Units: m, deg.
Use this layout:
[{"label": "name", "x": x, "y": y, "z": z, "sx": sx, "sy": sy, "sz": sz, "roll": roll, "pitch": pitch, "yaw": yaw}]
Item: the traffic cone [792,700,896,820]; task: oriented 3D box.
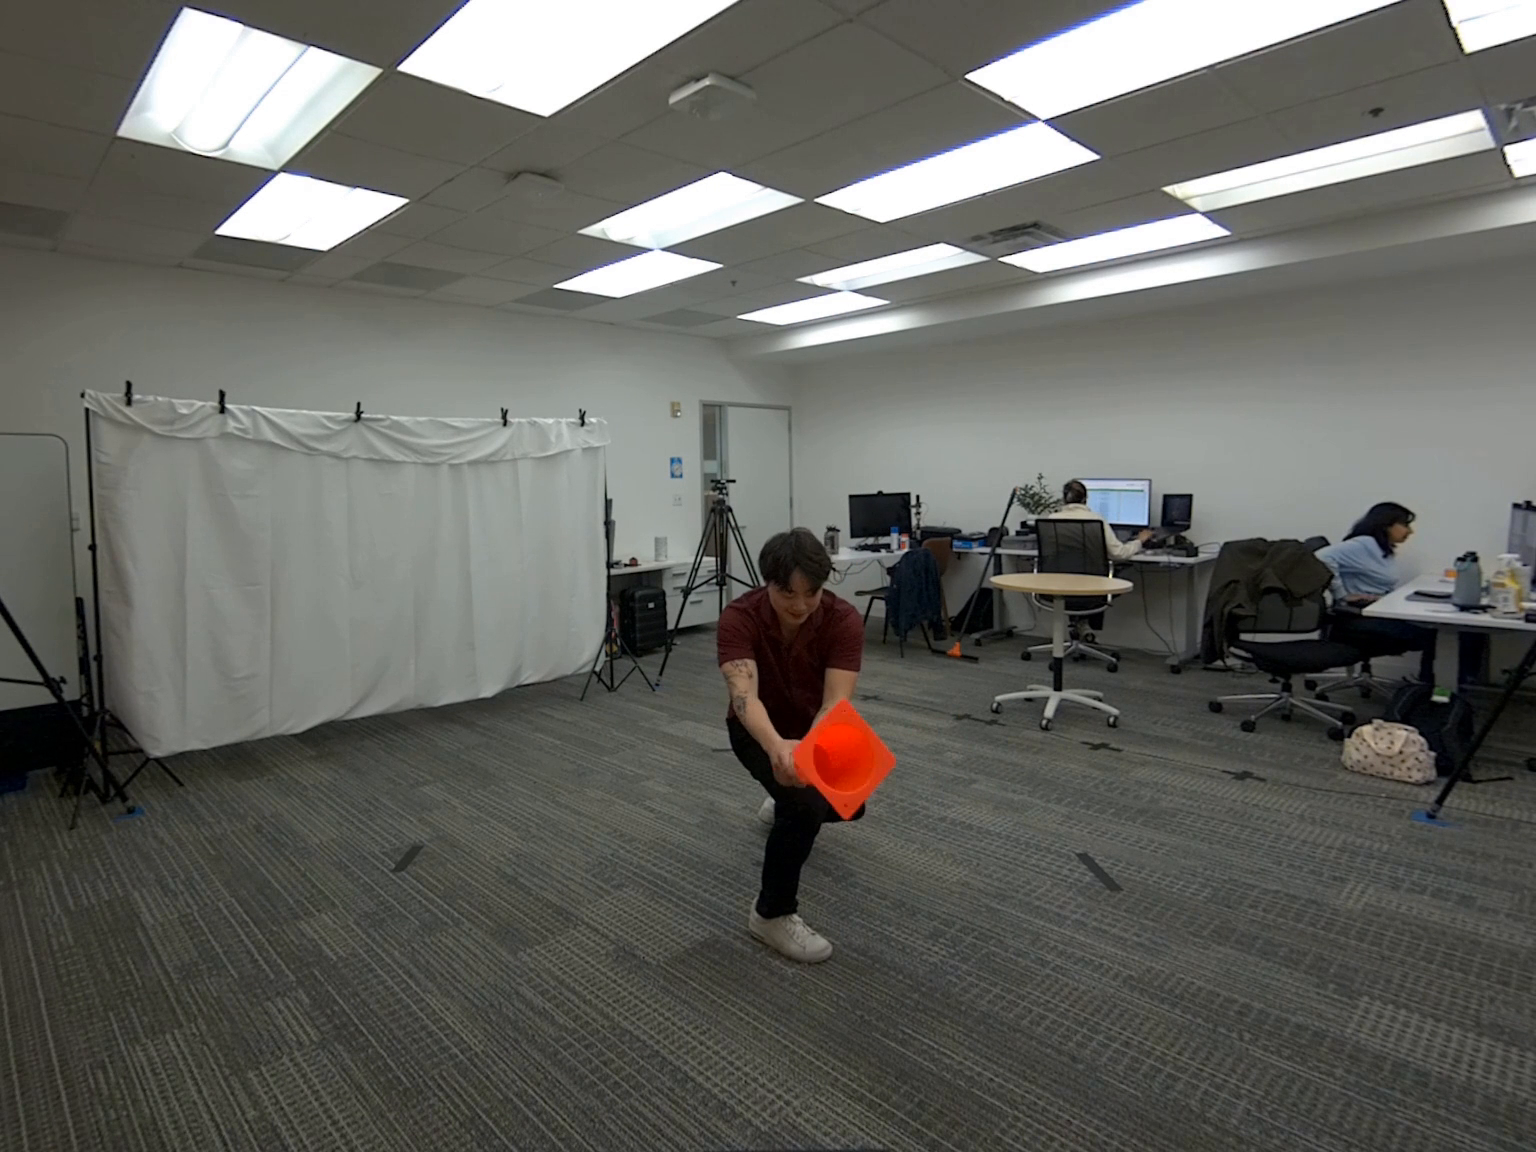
[{"label": "traffic cone", "x": 0.120, "y": 0.472, "z": 2.126, "sx": 0.204, "sy": 0.204, "sz": 0.384, "roll": -35, "pitch": -3, "yaw": -24}]
